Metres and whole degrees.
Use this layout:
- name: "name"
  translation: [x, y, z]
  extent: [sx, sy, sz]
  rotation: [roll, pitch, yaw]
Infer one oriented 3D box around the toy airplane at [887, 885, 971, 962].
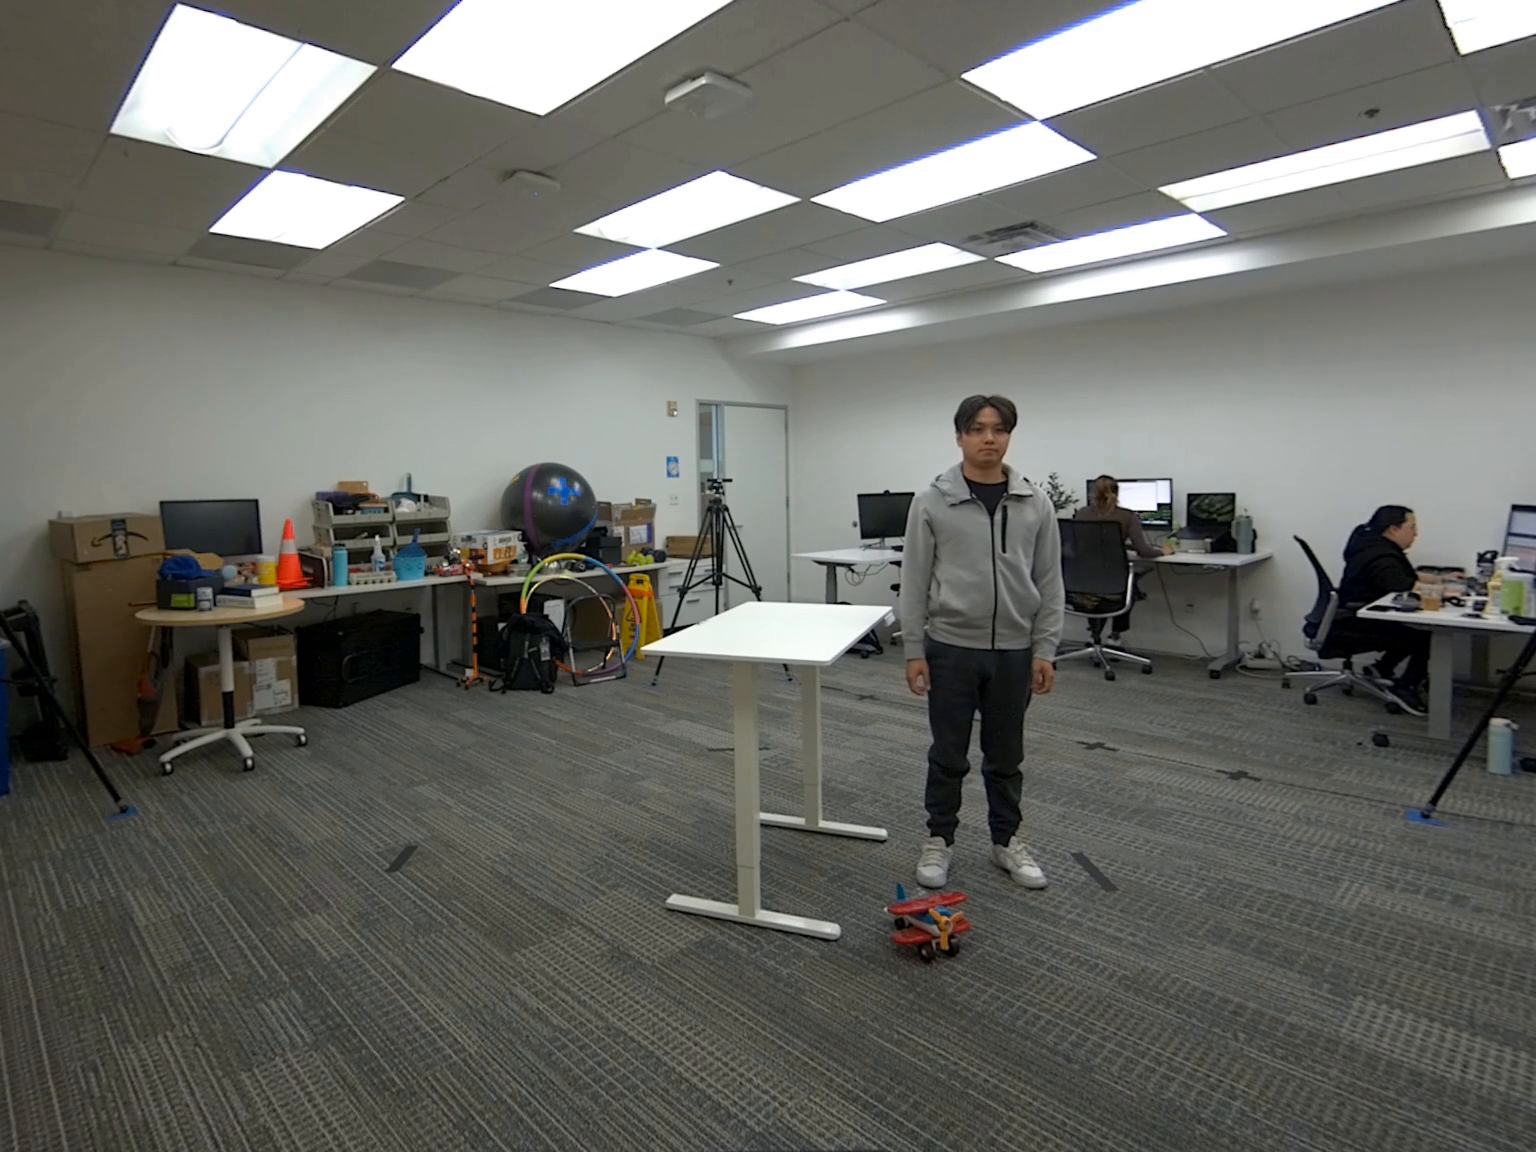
- name: "toy airplane"
  translation: [0.447, 1.025, 2.541]
  extent: [0.267, 0.156, 0.244]
  rotation: [5, 7, 39]
